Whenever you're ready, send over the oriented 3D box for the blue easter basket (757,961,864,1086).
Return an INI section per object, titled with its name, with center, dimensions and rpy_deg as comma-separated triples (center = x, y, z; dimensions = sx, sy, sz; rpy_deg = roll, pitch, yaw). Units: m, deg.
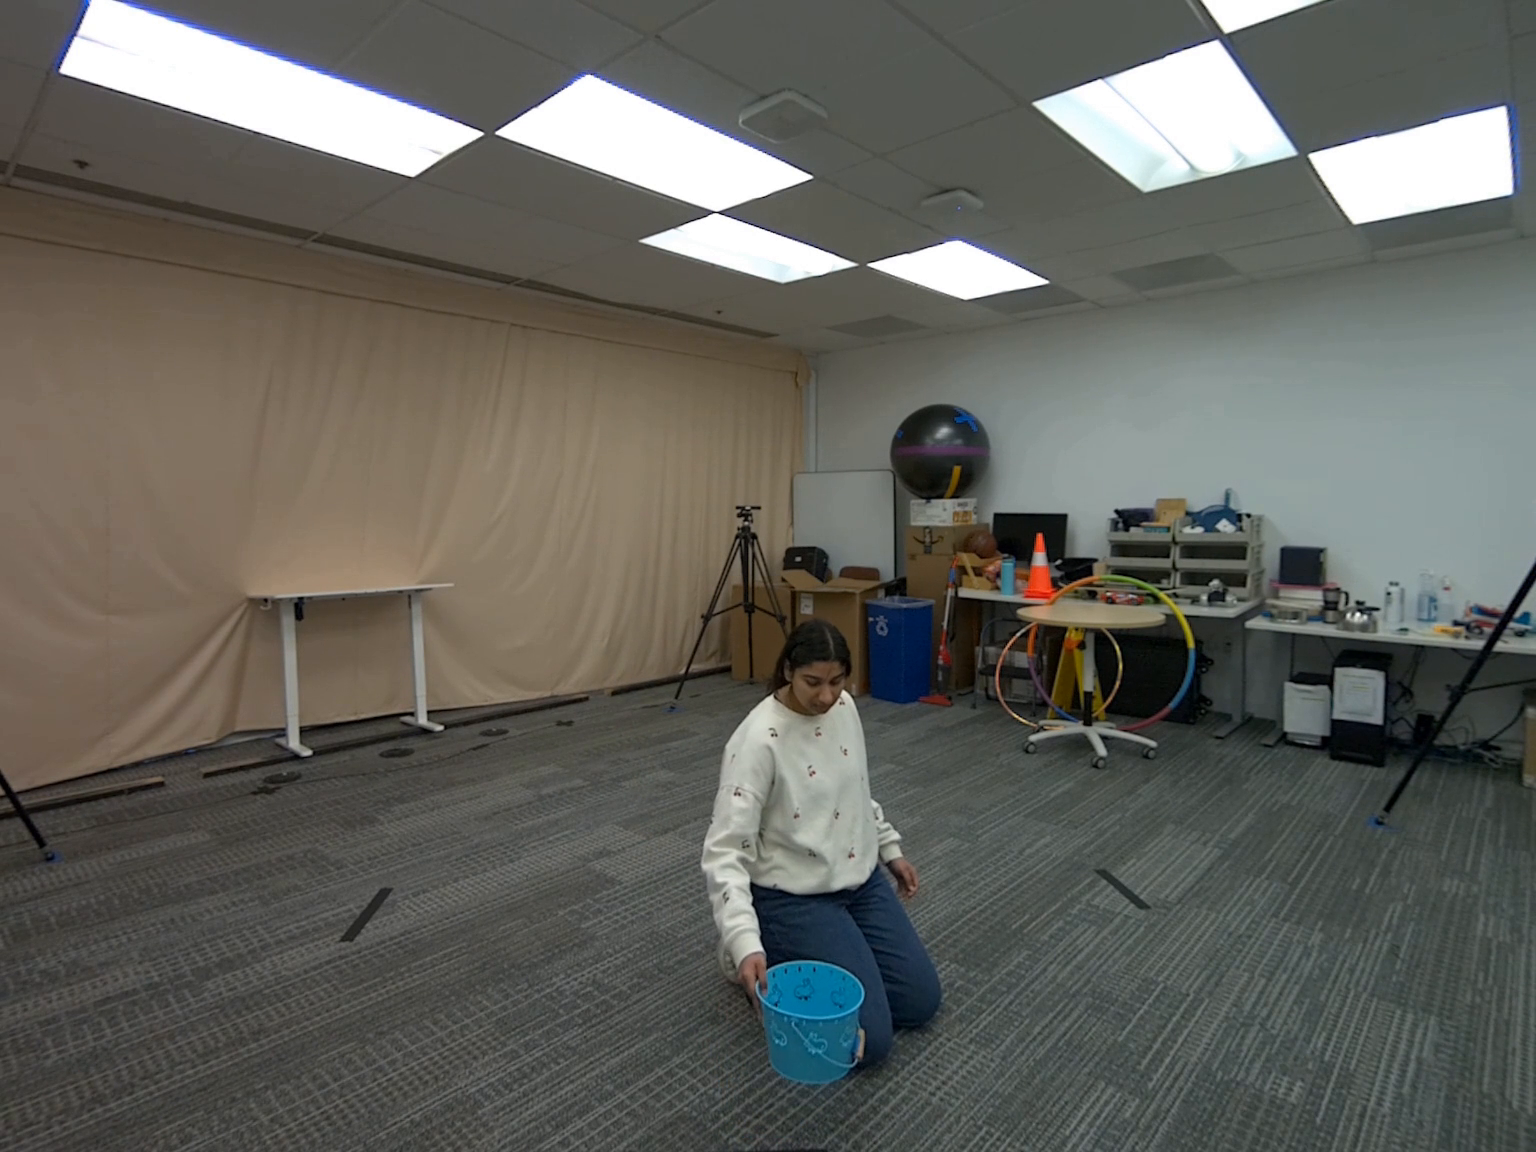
[blue easter basket]
center = 0.095, 0.971, 1.841
dimensions = 0.243, 0.155, 0.244
rpy_deg = -1, 3, -2
